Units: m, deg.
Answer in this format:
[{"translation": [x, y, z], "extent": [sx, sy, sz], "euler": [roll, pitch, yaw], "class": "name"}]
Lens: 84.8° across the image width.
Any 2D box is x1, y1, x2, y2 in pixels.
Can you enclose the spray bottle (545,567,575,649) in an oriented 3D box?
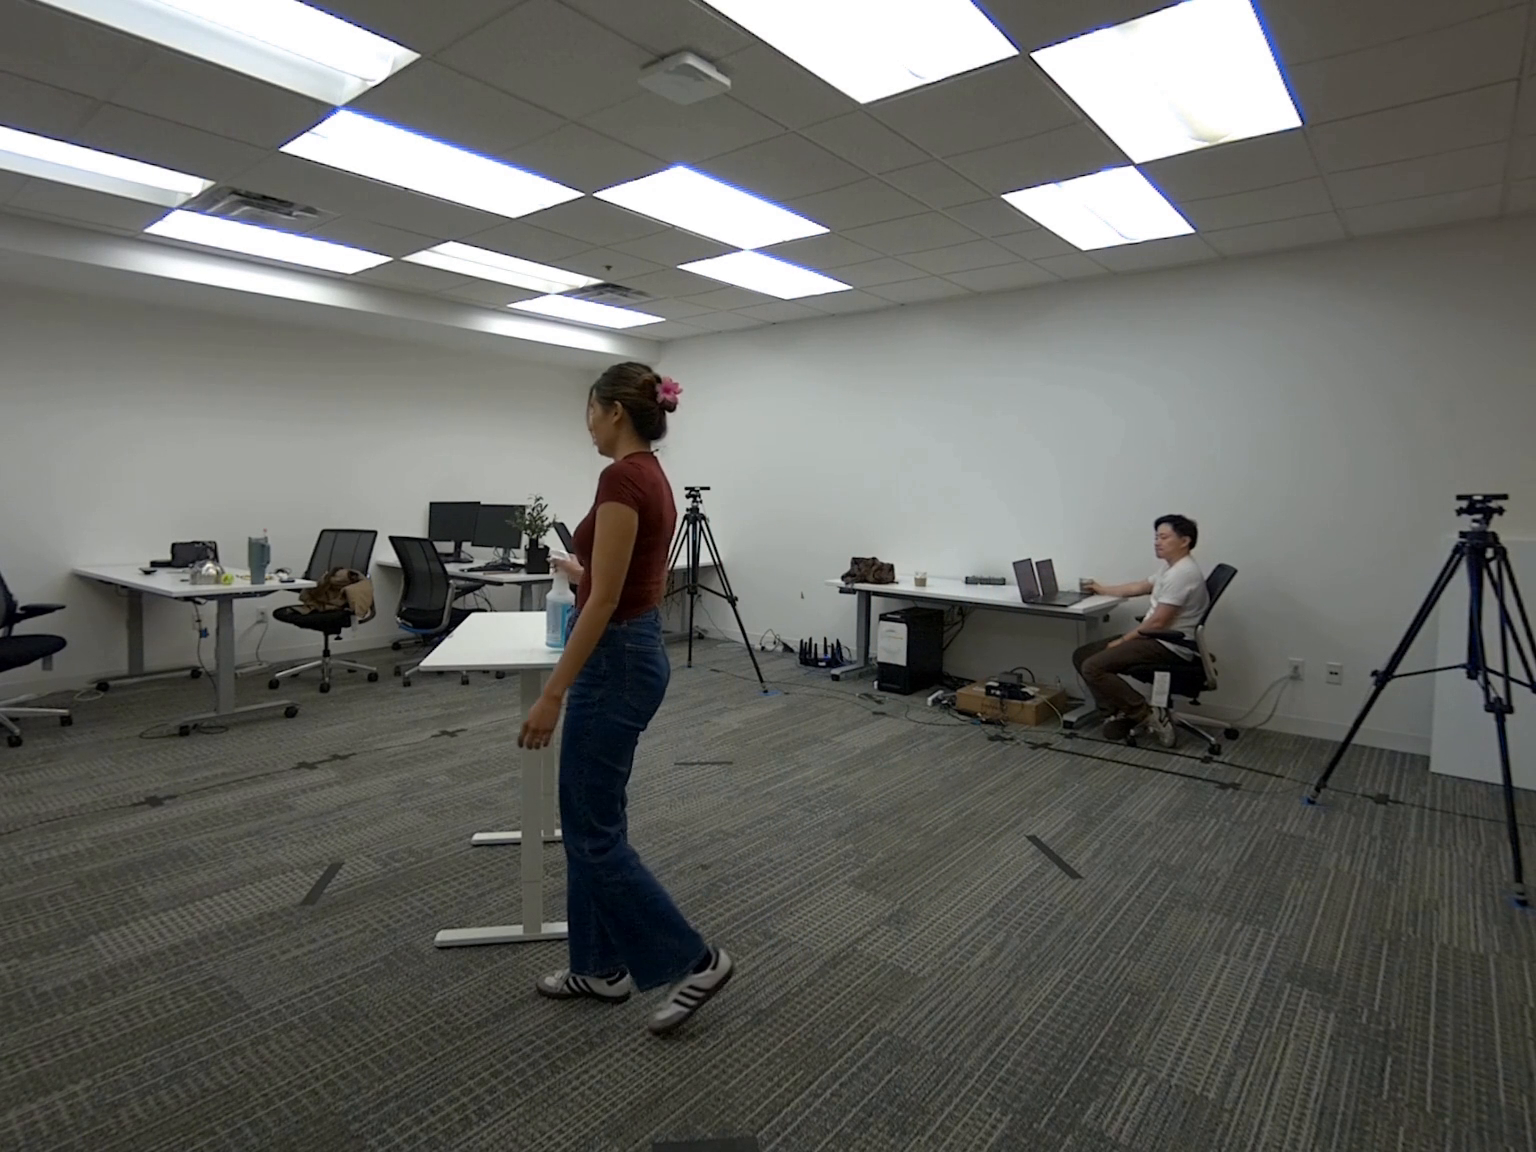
[{"translation": [-0.639, 0.071, 2.590], "extent": [0.085, 0.296, 0.092], "euler": [-1, 3, -29], "class": "spray bottle"}]
